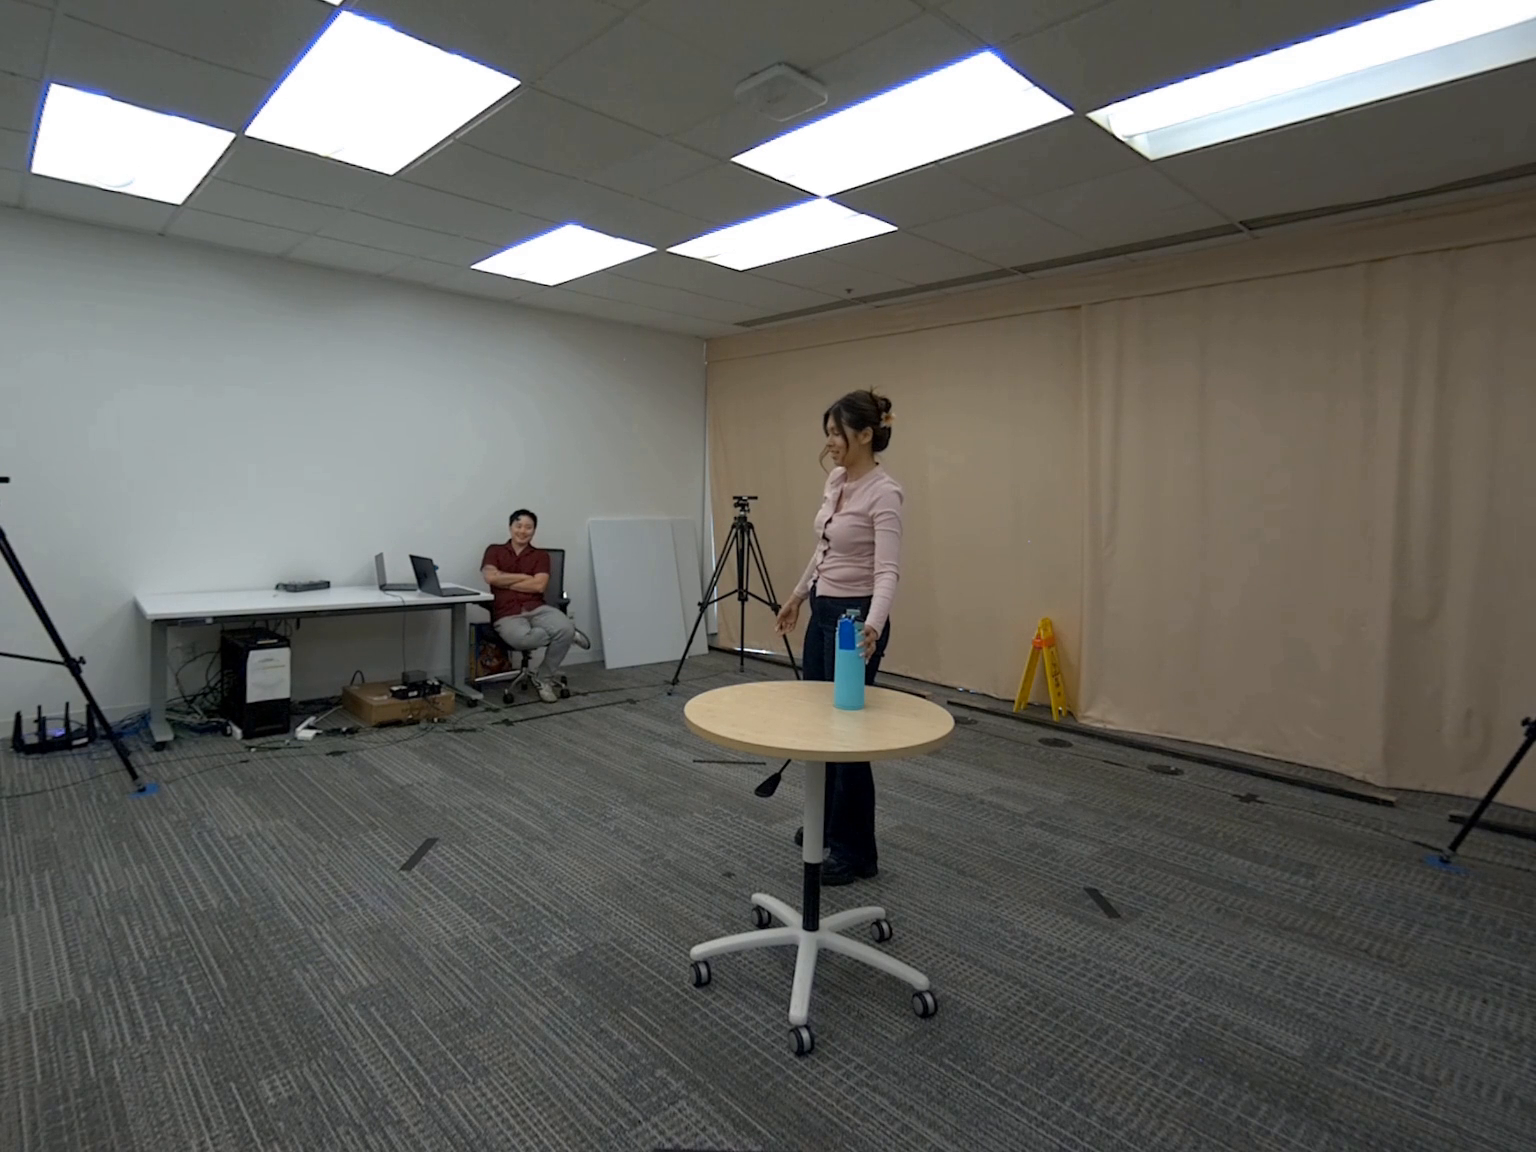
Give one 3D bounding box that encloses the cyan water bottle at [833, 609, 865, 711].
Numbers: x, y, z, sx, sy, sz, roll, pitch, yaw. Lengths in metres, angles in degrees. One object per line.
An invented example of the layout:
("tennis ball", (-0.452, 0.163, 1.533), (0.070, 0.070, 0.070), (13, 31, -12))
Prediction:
("cyan water bottle", (0.229, 0.244, 2.471), (0.092, 0.282, 0.092), (-1, 4, -1))
